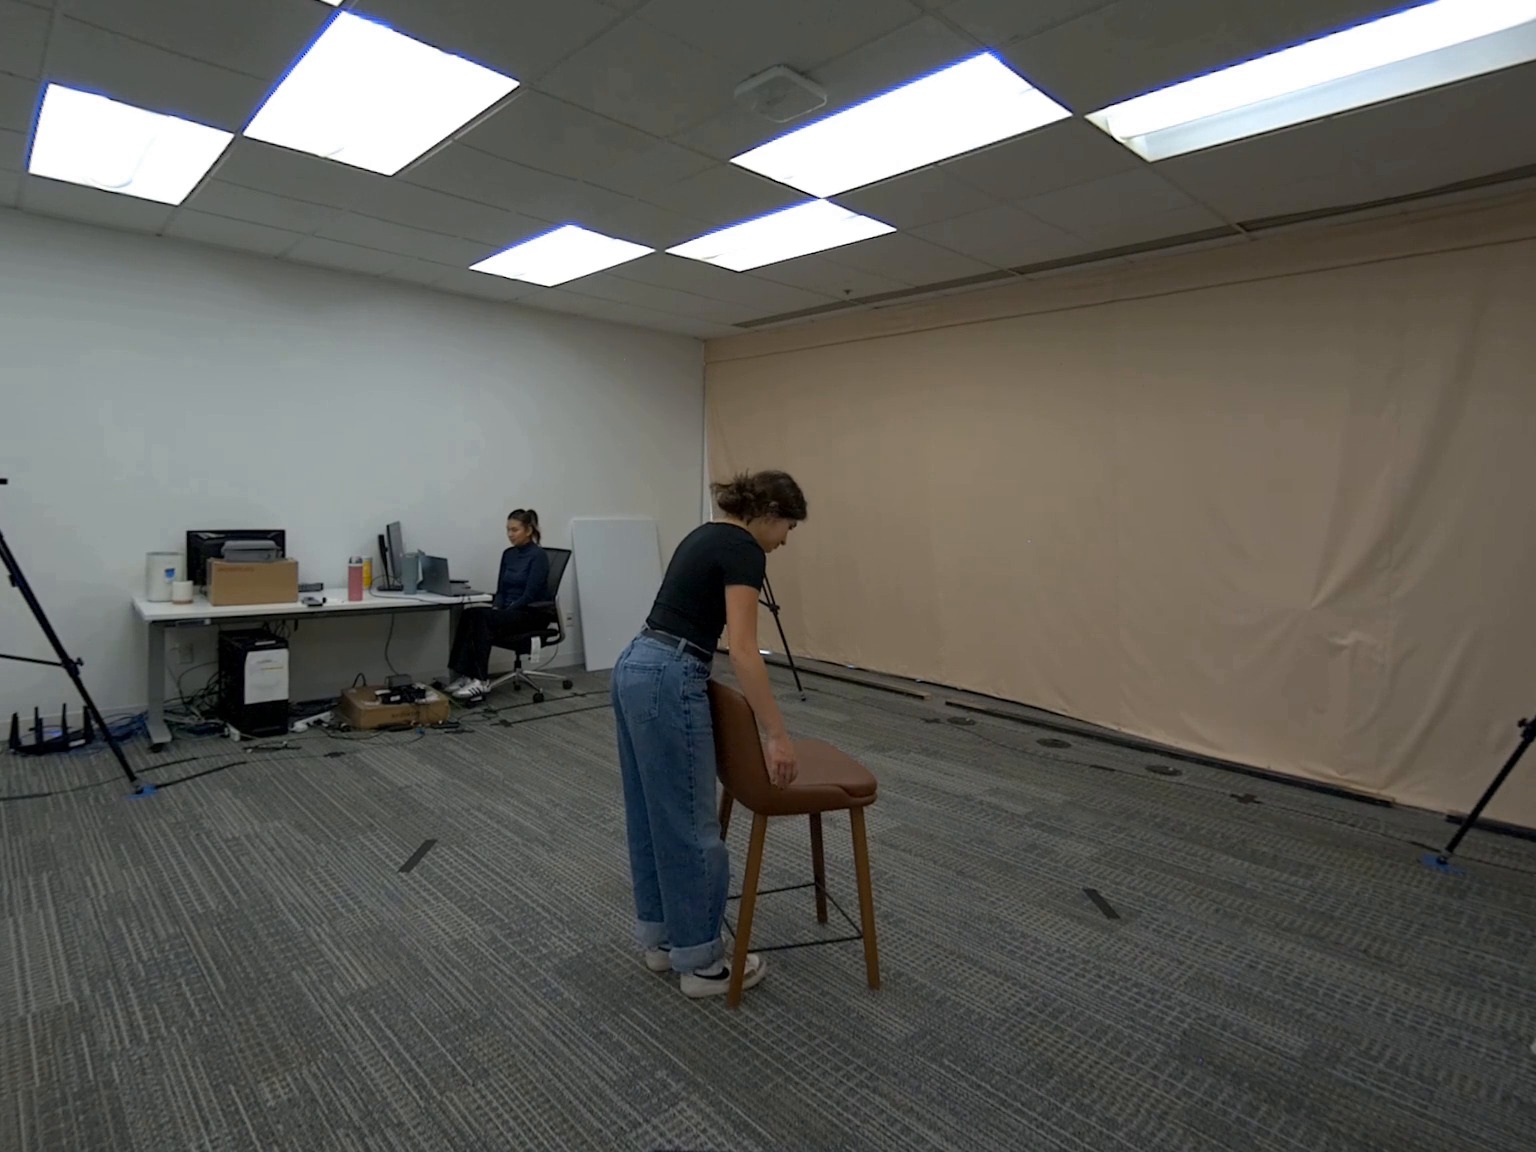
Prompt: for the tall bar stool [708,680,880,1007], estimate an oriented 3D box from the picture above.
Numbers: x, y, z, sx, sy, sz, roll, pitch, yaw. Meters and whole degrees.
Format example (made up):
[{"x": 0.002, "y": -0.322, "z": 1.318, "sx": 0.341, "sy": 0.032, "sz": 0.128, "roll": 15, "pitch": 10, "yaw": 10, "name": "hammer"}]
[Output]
[{"x": 0.047, "y": 0.726, "z": 2.505, "sx": 0.461, "sy": 0.887, "sz": 0.464, "roll": -1, "pitch": 4, "yaw": -19, "name": "tall bar stool"}]
